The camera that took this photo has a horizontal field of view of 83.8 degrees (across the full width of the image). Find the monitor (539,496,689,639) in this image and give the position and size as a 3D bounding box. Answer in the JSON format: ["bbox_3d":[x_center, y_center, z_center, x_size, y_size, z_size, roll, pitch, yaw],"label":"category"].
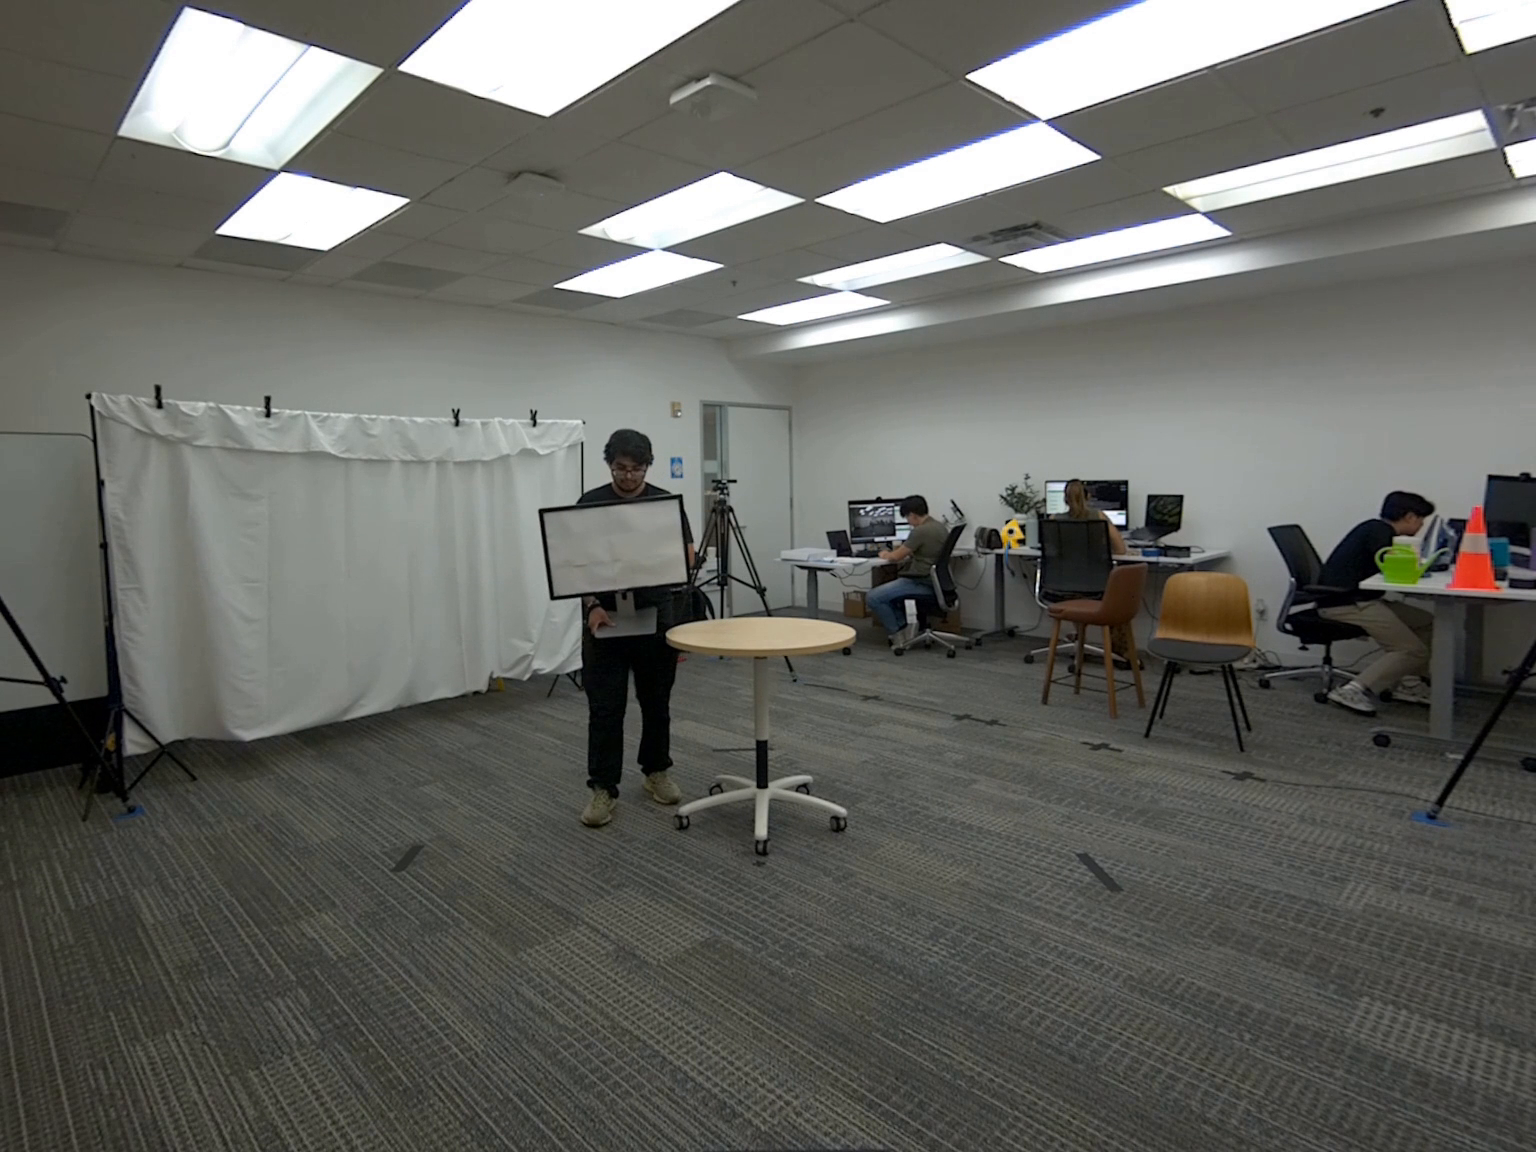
[{"bbox_3d":[-0.595,-0.047,3.425,0.563,0.544,0.214,-6,18,-4],"label":"monitor"}]
